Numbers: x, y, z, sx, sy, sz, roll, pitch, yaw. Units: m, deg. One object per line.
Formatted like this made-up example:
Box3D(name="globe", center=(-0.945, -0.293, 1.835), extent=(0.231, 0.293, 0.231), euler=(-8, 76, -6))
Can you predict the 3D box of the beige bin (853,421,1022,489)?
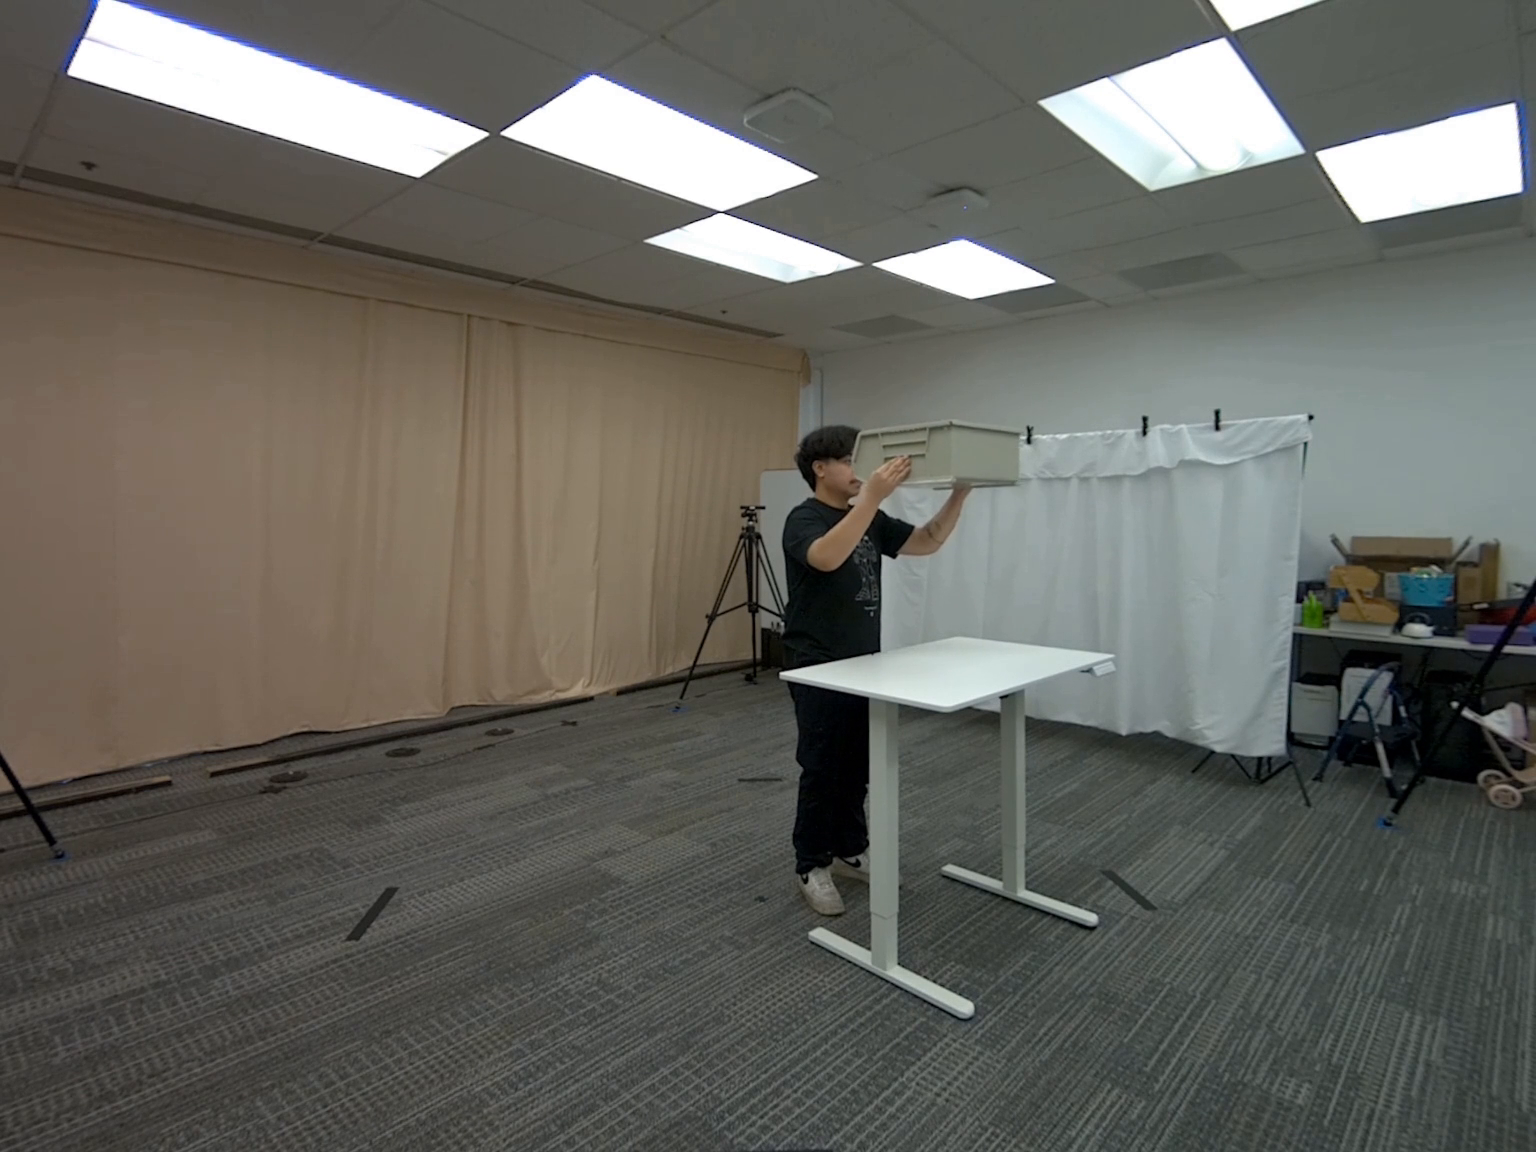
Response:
Box3D(name="beige bin", center=(0.556, -0.372, 2.710), extent=(0.409, 0.189, 0.390), euler=(-4, 4, -44))
